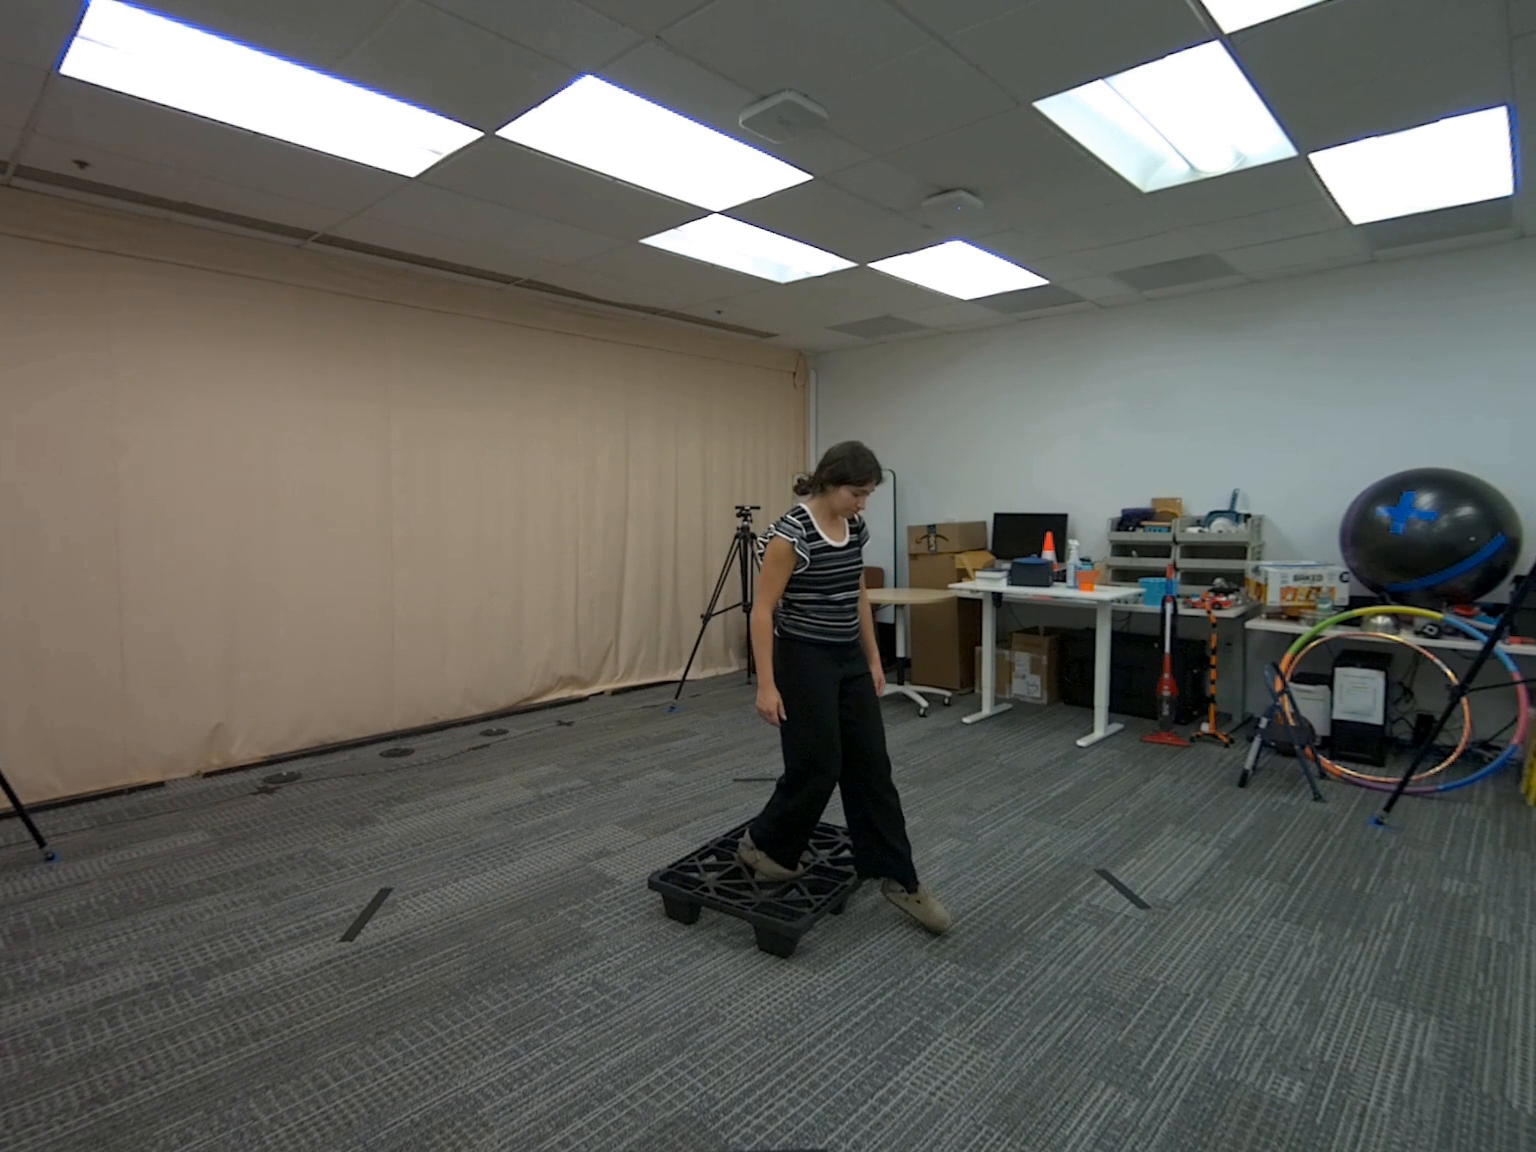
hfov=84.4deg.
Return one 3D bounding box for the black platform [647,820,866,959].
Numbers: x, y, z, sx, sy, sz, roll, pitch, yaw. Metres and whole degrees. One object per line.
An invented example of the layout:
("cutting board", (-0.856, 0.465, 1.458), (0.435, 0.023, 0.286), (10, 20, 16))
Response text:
("black platform", (0.051, 1.074, 3.012), (0.624, 0.143, 0.783), (4, 6, 33))
